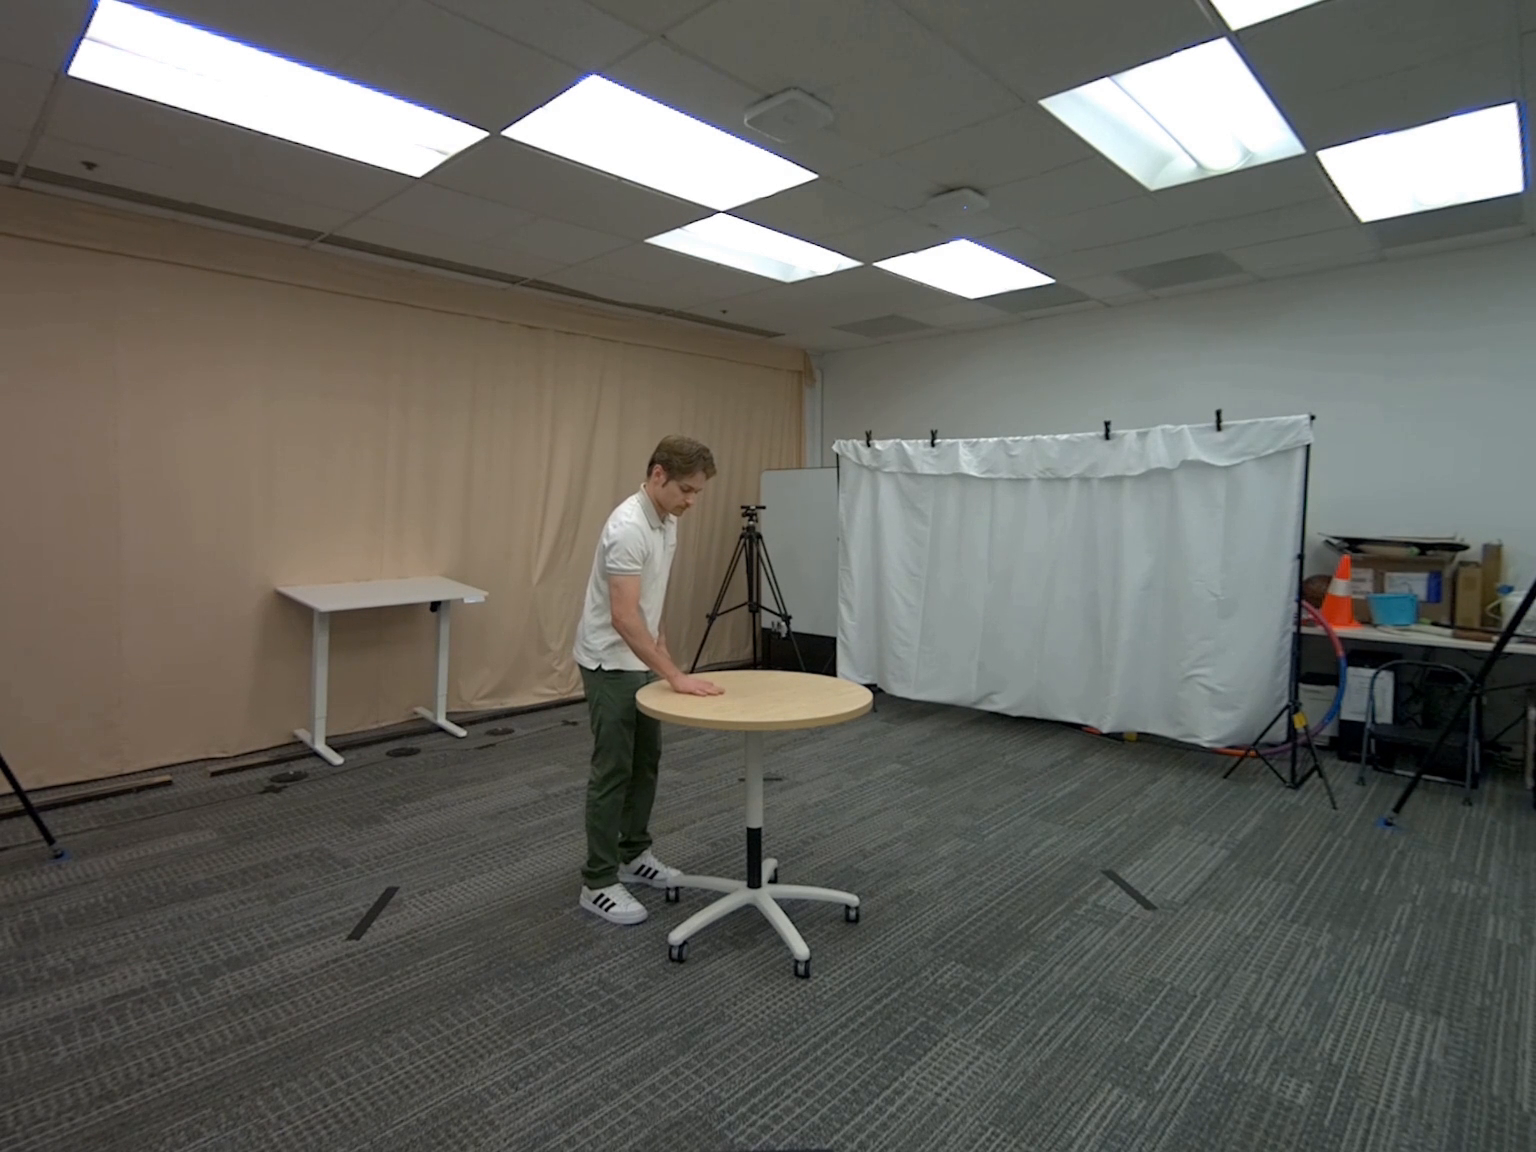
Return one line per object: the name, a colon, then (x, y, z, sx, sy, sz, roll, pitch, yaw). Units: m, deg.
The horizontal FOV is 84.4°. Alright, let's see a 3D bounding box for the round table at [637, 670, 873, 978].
round table: (-0.035, 0.770, 2.745, 0.784, 0.785, 0.787, -1, 3, -2)
